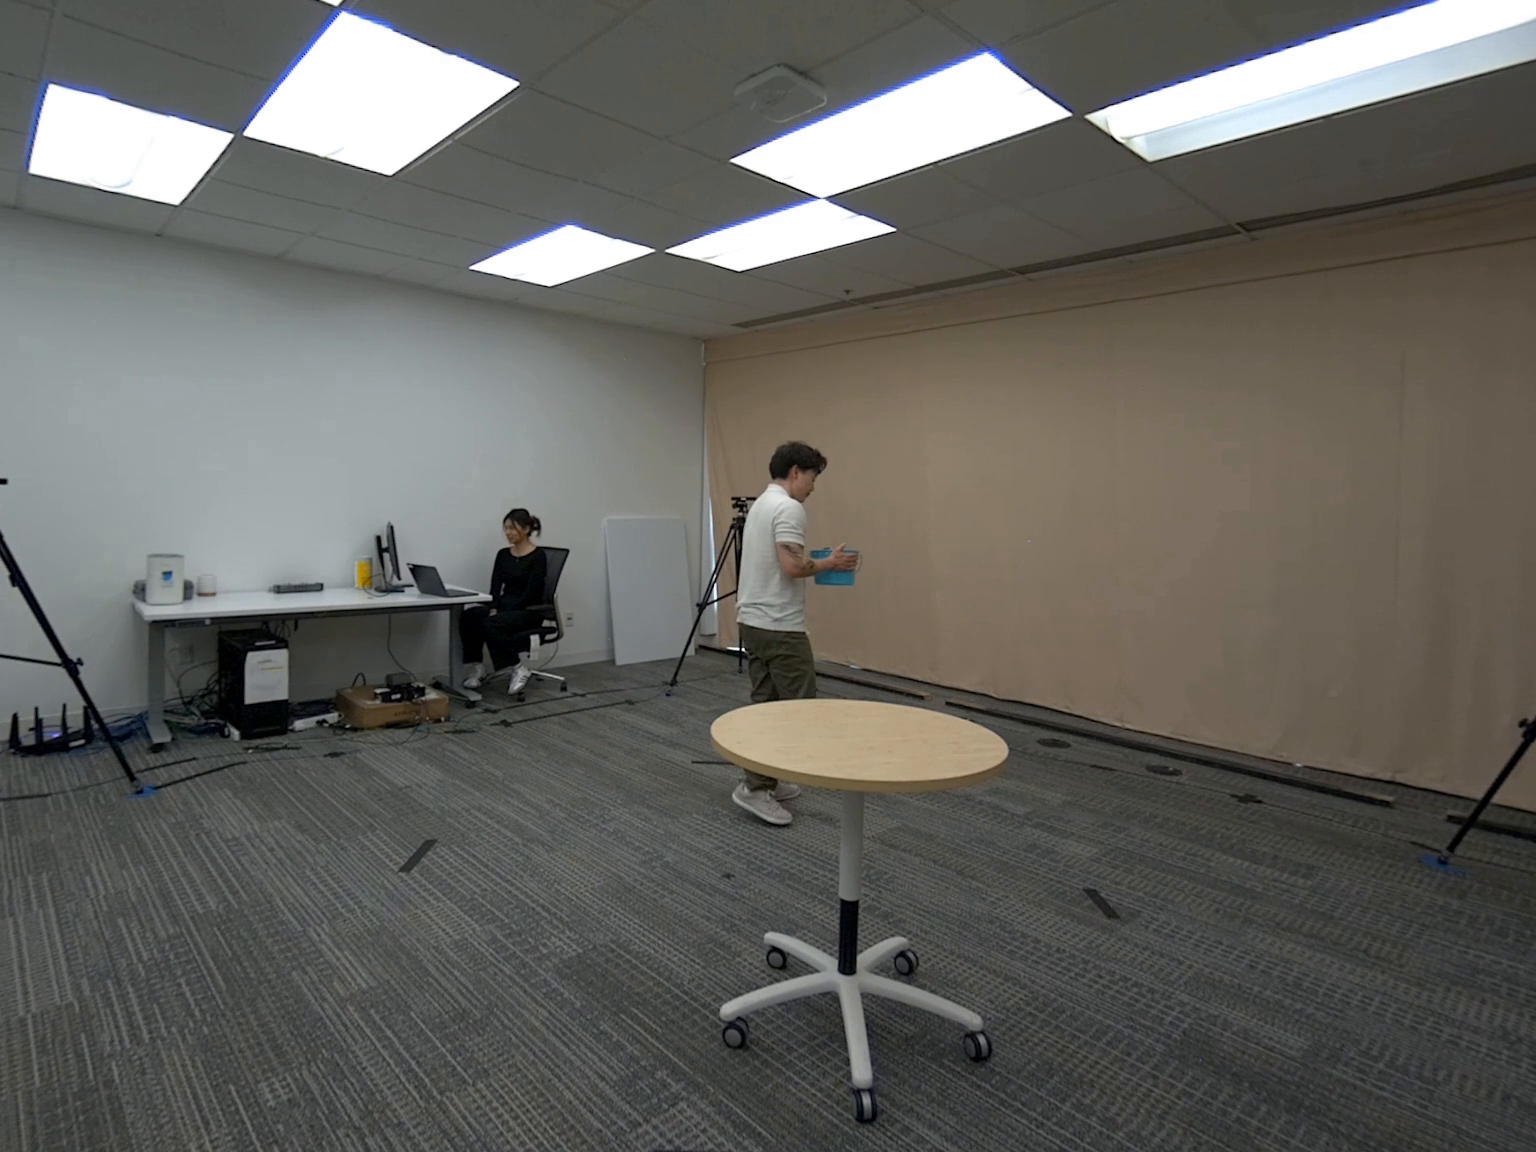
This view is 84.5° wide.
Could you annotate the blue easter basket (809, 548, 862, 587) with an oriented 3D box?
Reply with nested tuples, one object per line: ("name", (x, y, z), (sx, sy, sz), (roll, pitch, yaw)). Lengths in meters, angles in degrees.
("blue easter basket", (0.294, -0.041, 3.911), (0.243, 0.156, 0.243), (1, -1, -1))
